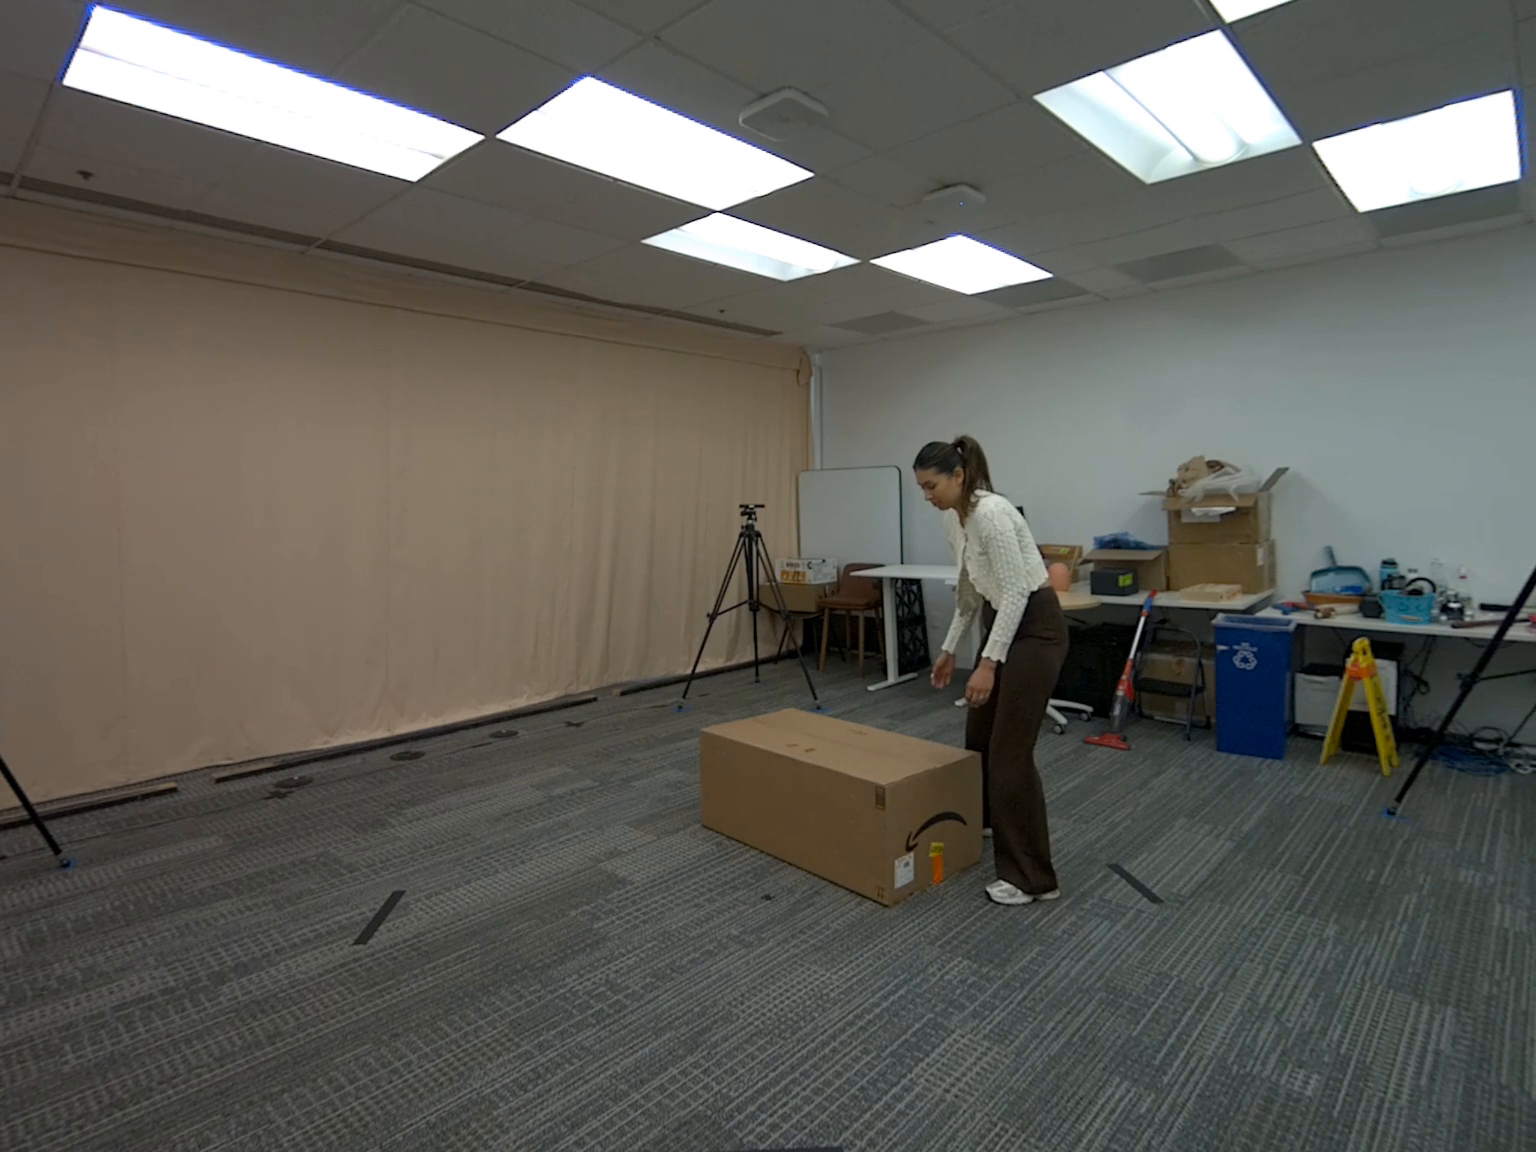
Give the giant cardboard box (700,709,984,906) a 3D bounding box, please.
[{"bbox_3d":[0.263,0.883,3.448,0.560,0.425,1.060,-4,6,-41],"label":"giant cardboard box"}]
